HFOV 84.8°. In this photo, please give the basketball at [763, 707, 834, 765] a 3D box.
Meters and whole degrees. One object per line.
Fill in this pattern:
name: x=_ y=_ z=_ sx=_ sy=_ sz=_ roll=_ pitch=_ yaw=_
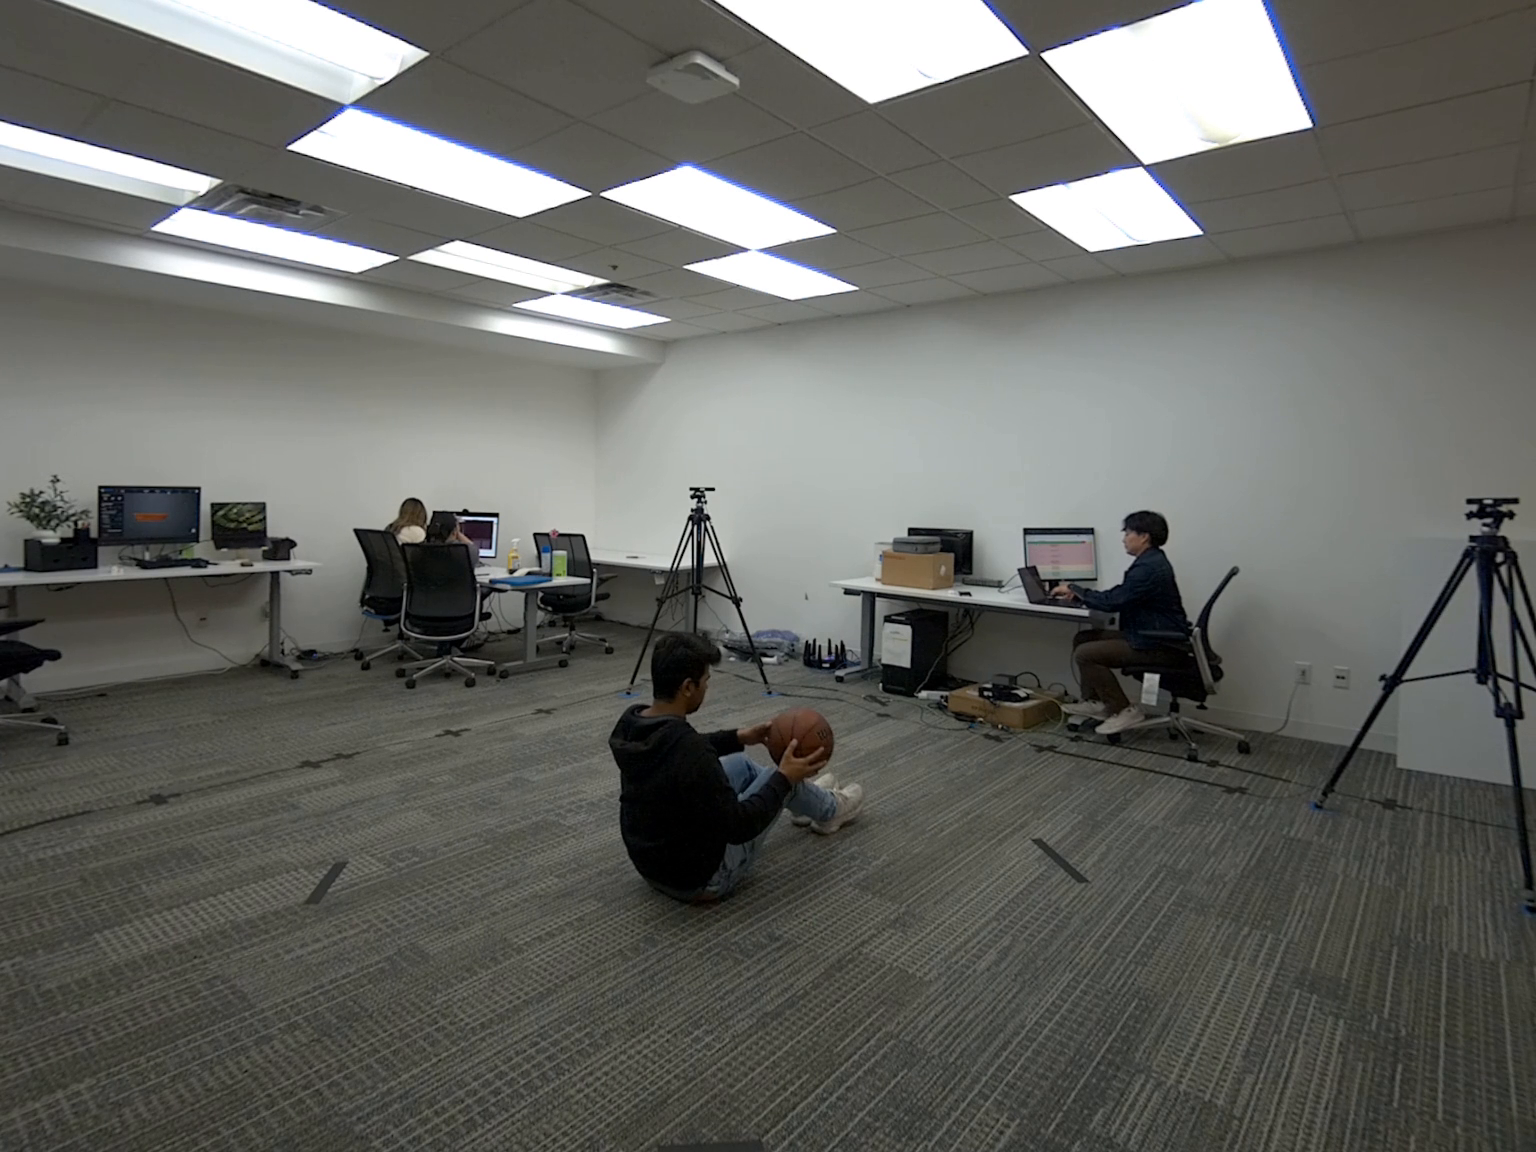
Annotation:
basketball: x=0.087 y=0.599 z=3.040 sx=0.235 sy=0.235 sz=0.237 roll=1 pitch=4 yaw=-2
